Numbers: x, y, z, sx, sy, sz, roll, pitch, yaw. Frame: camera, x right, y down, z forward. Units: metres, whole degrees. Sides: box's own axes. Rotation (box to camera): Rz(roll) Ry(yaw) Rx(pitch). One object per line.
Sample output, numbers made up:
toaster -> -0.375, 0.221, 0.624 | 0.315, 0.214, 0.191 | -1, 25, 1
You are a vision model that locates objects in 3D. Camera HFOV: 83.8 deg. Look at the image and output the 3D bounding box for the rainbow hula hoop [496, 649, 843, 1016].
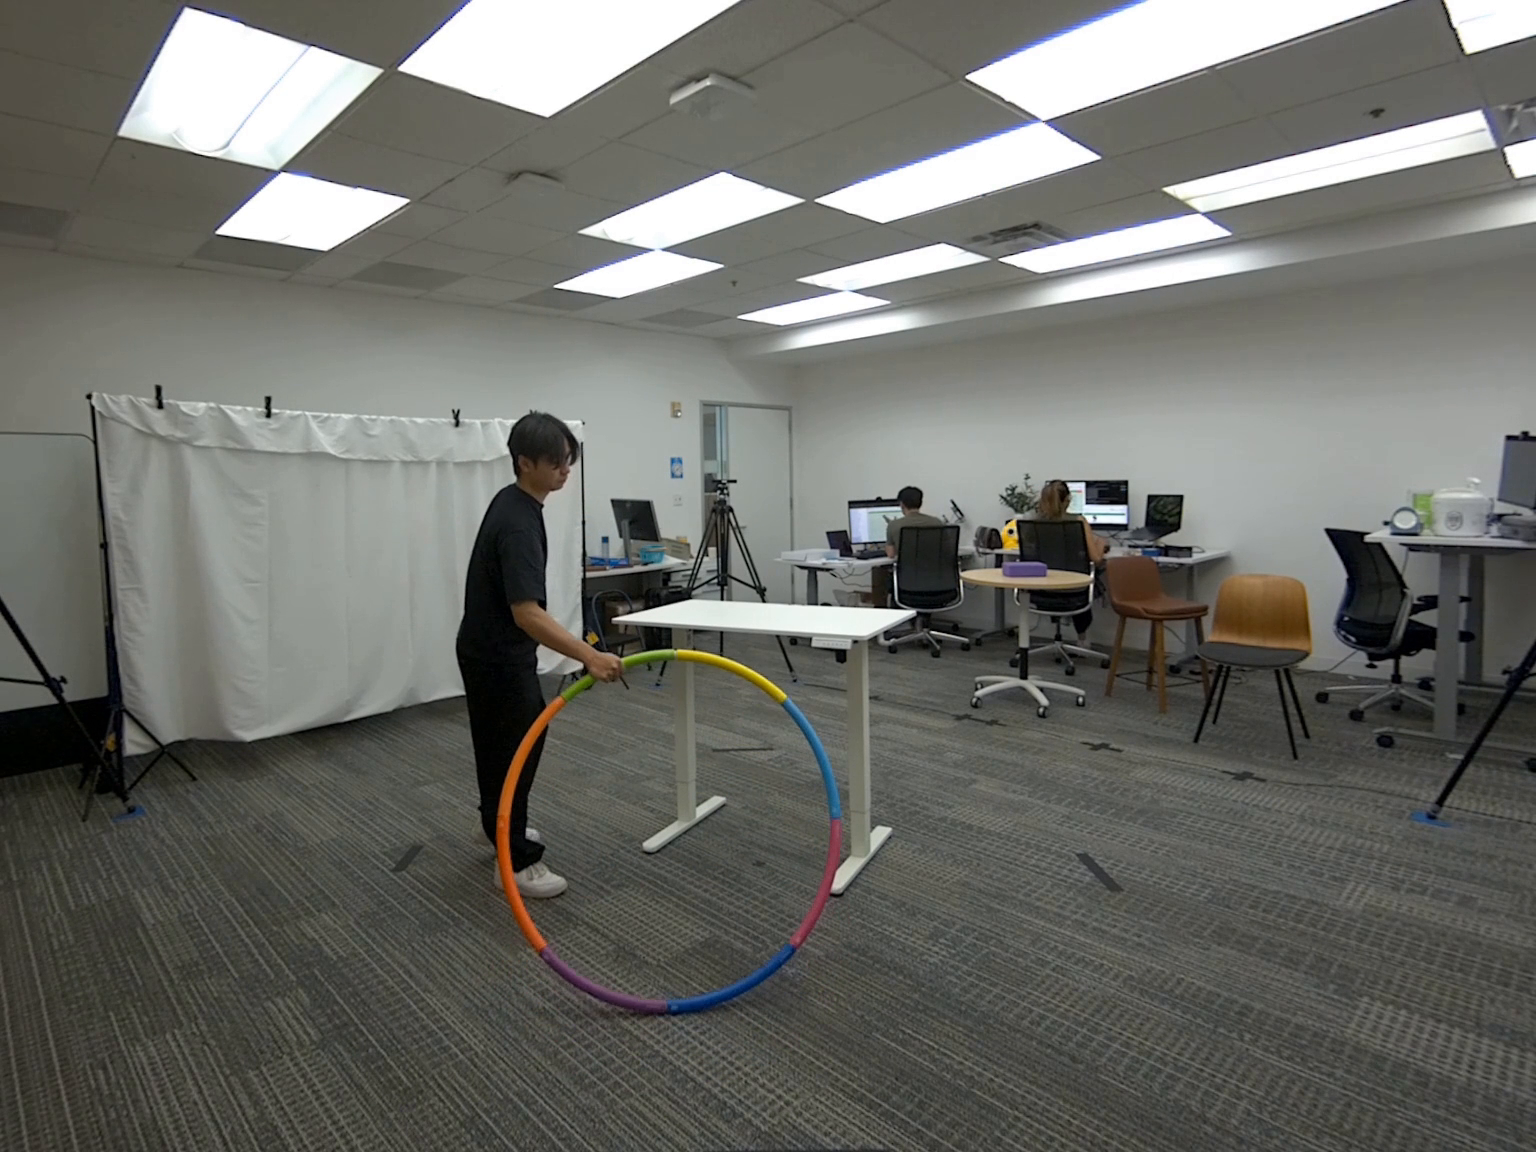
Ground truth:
rainbow hula hoop -> -0.270, 0.698, 2.451 | 0.975, 1.000, 0.035 | -2, -25, -3
